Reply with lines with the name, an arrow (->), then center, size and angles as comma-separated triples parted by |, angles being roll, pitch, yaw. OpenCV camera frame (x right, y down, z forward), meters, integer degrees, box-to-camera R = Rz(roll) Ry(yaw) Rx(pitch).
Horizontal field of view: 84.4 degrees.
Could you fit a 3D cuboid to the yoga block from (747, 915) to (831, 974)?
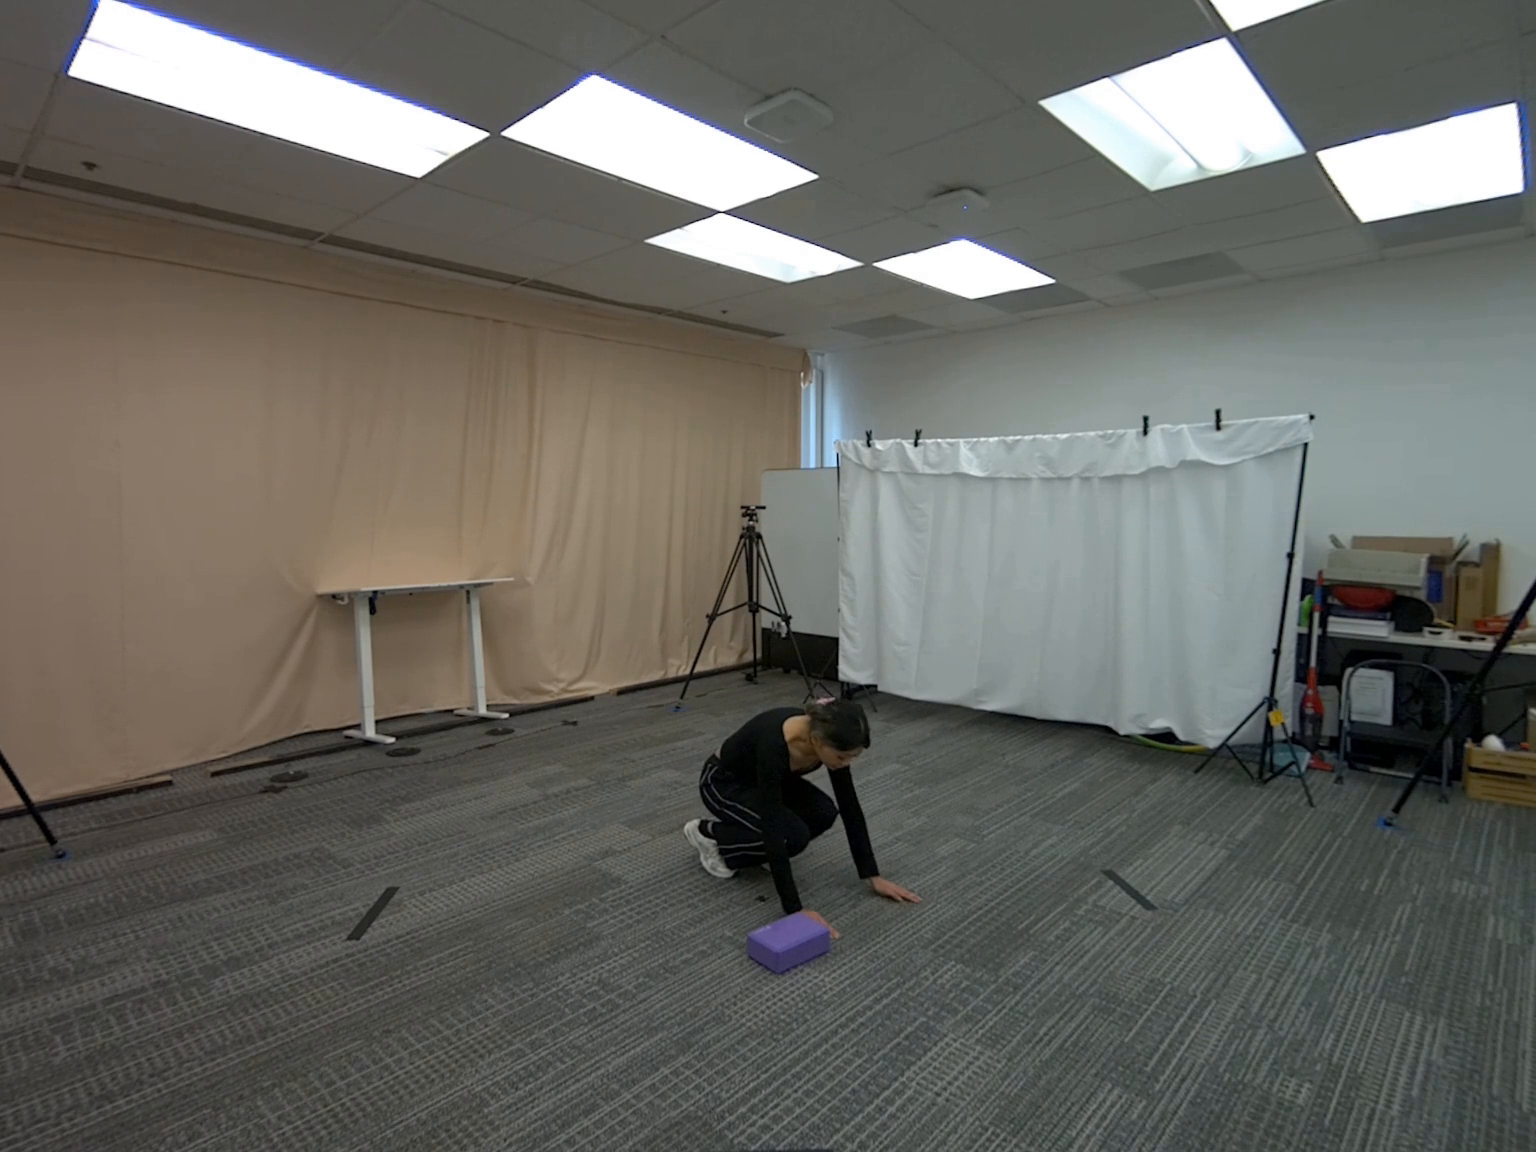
yoga block -> 0.065, 1.129, 2.614 | 0.222, 0.076, 0.154 | -5, 7, -41
